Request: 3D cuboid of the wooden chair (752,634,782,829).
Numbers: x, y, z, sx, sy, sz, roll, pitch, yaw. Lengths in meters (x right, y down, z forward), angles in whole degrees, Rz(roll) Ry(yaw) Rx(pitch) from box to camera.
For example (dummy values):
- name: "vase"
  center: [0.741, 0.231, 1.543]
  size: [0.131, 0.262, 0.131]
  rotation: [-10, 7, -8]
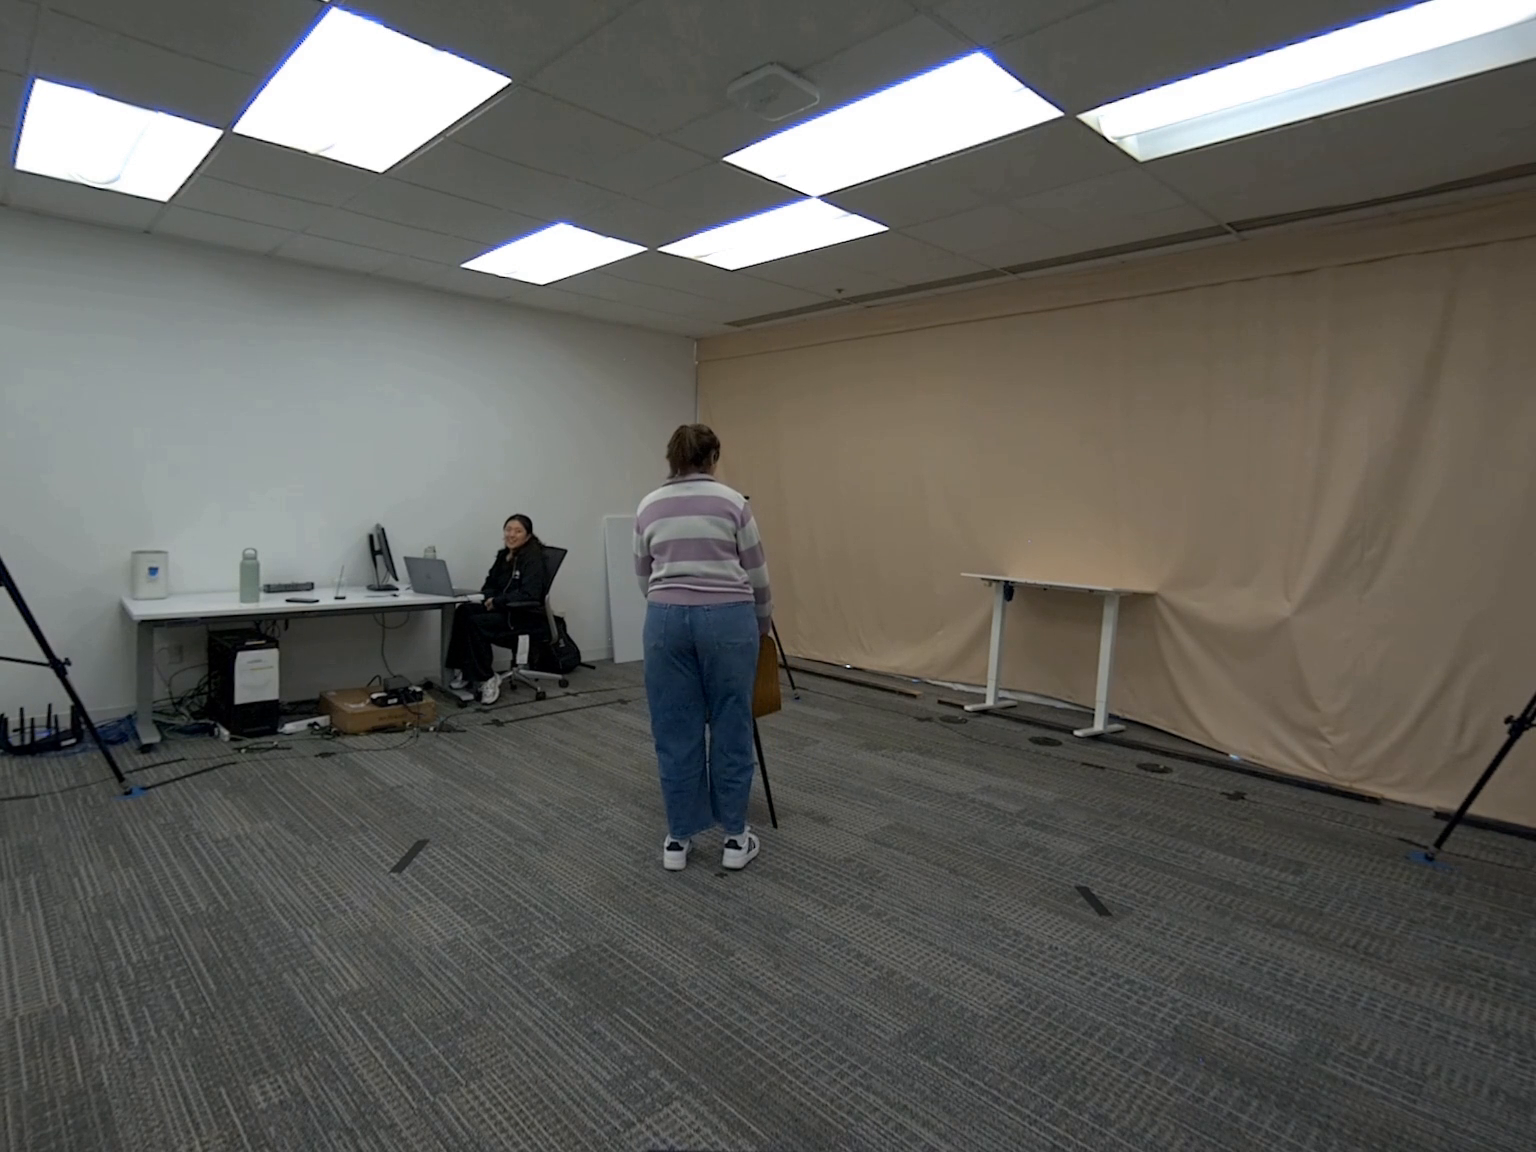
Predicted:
- name: "wooden chair"
  center: [-0.191, 0.616, 3.763]
  size: [0.477, 0.873, 0.527]
  rotation: [1, 7, -2]
